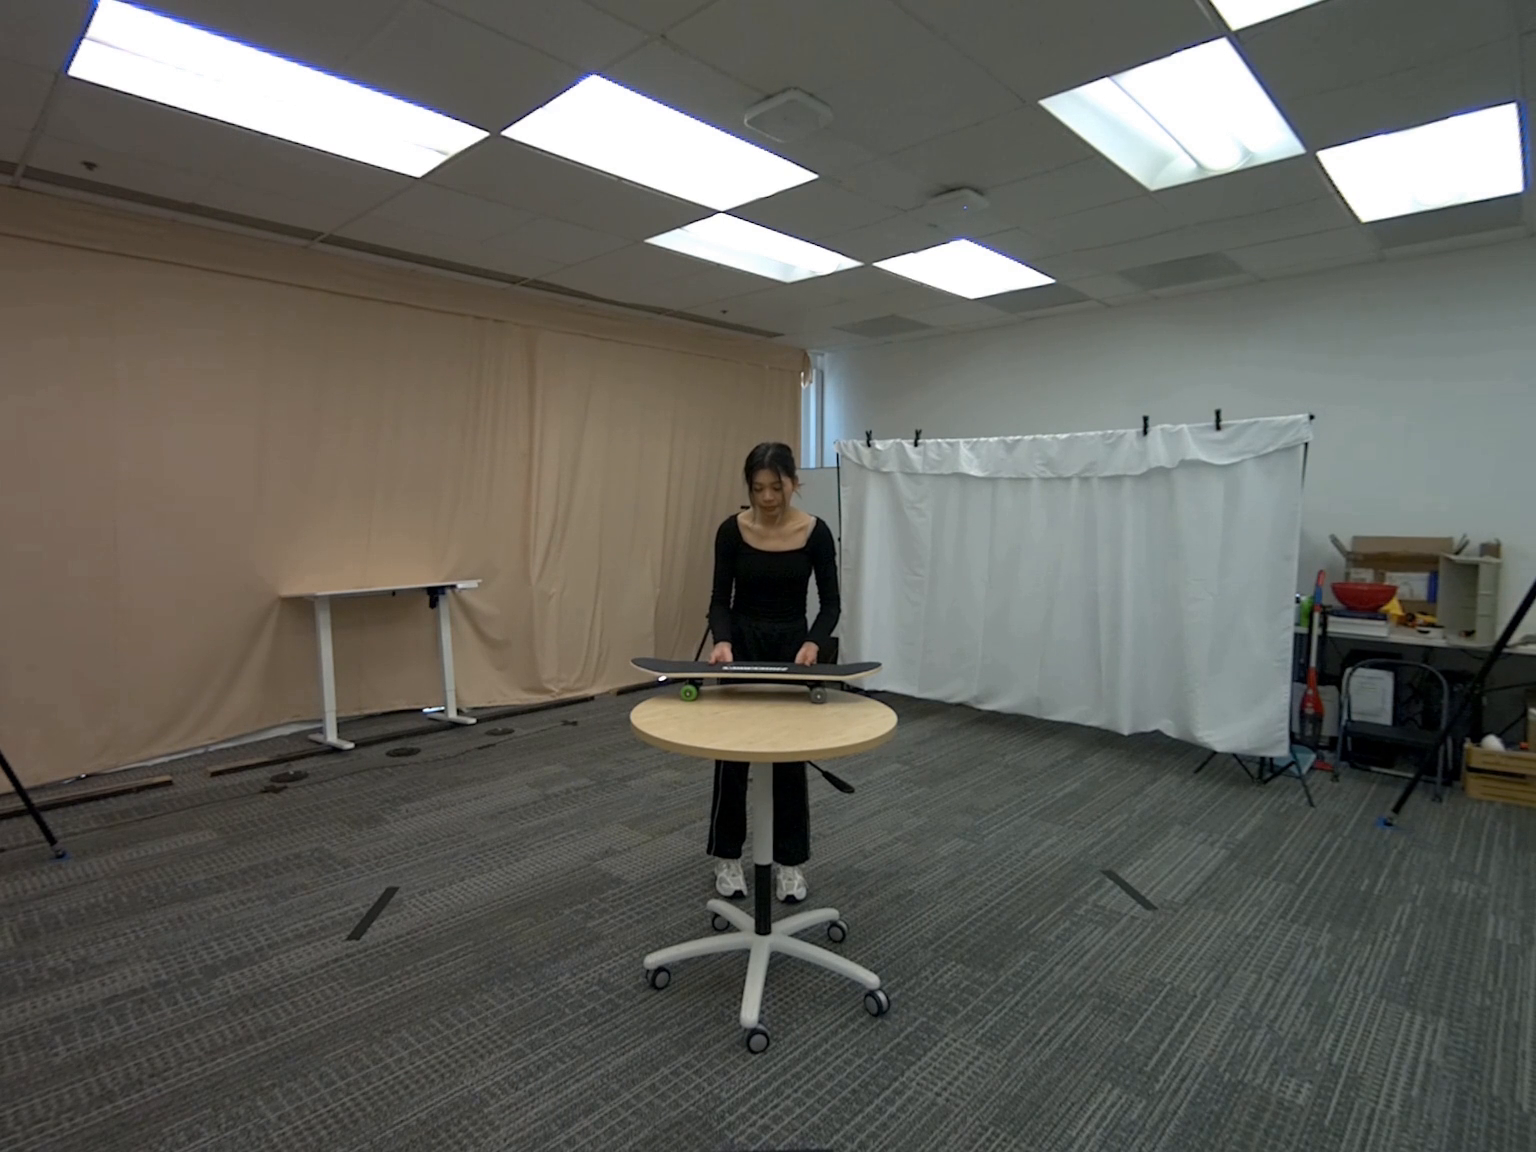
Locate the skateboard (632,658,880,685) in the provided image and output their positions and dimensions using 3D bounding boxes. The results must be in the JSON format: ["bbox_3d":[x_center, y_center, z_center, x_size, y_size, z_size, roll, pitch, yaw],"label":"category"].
[{"bbox_3d":[-0.017,0.320,2.659,0.791,0.110,0.193,0,5,6],"label":"skateboard"}]
